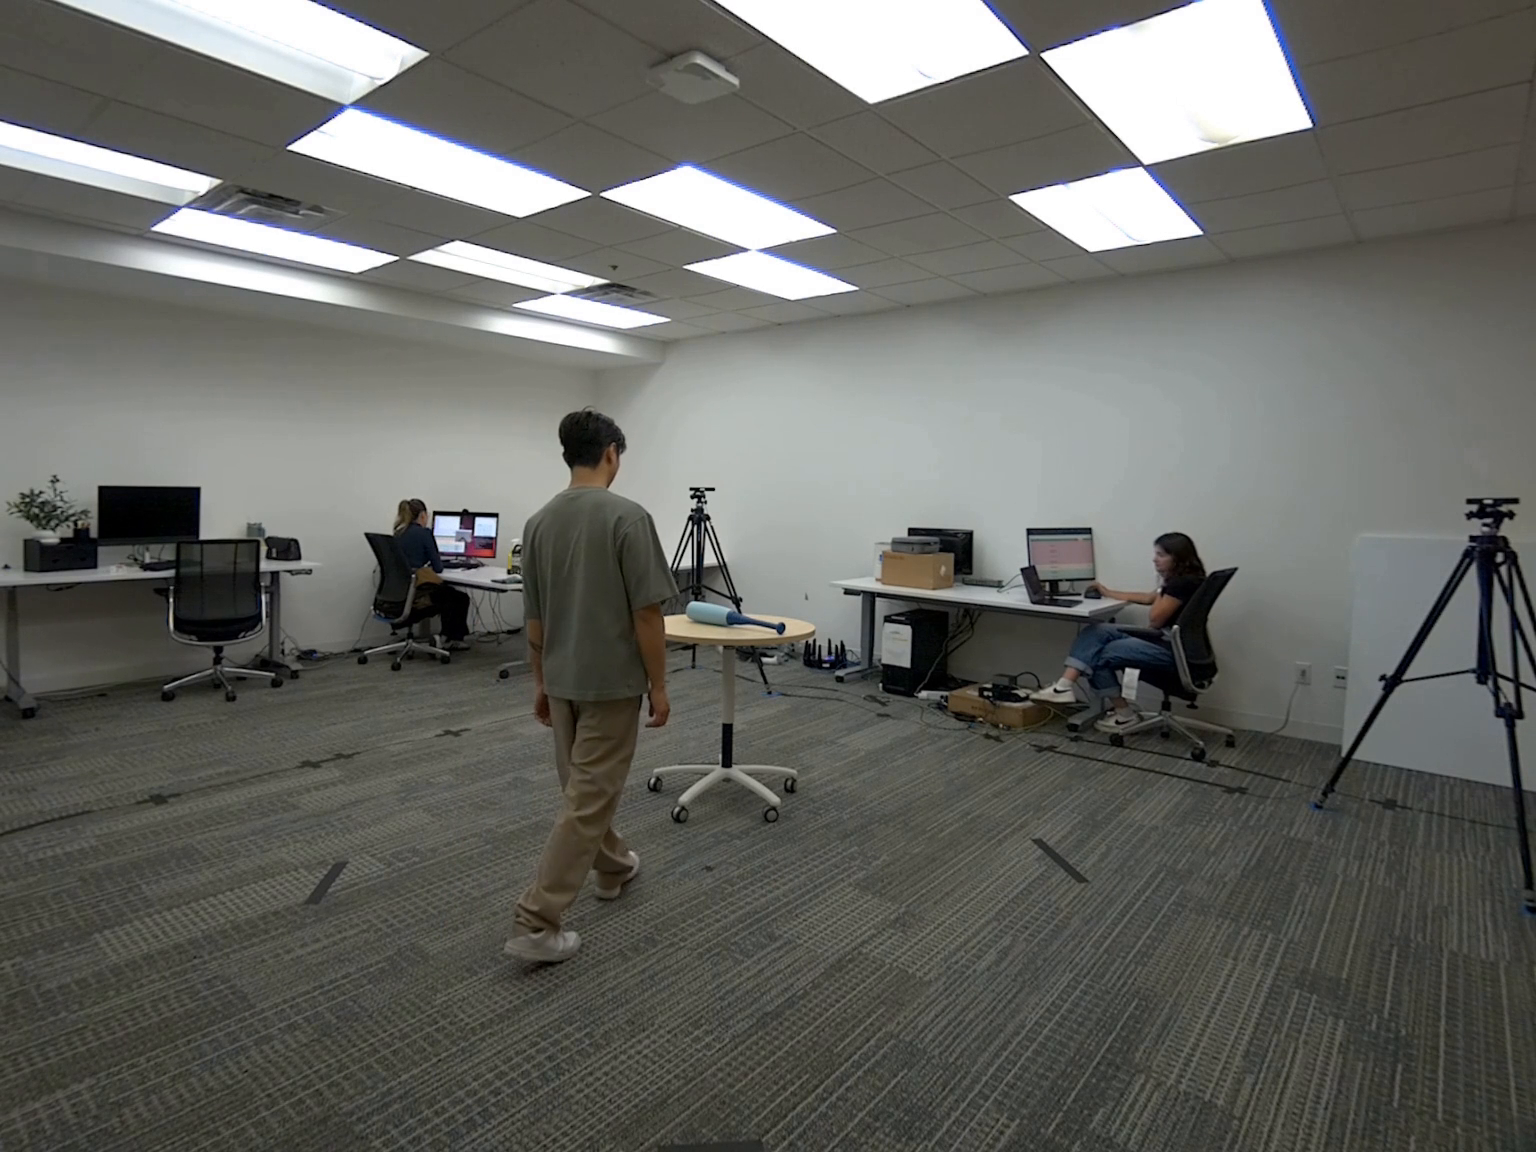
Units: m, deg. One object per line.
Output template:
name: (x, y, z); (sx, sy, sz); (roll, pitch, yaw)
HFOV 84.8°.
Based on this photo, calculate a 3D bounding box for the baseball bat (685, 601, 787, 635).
baseball bat: (-0.160, 0.185, 3.730); (0.562, 0.088, 0.086); (8, 8, 41)
